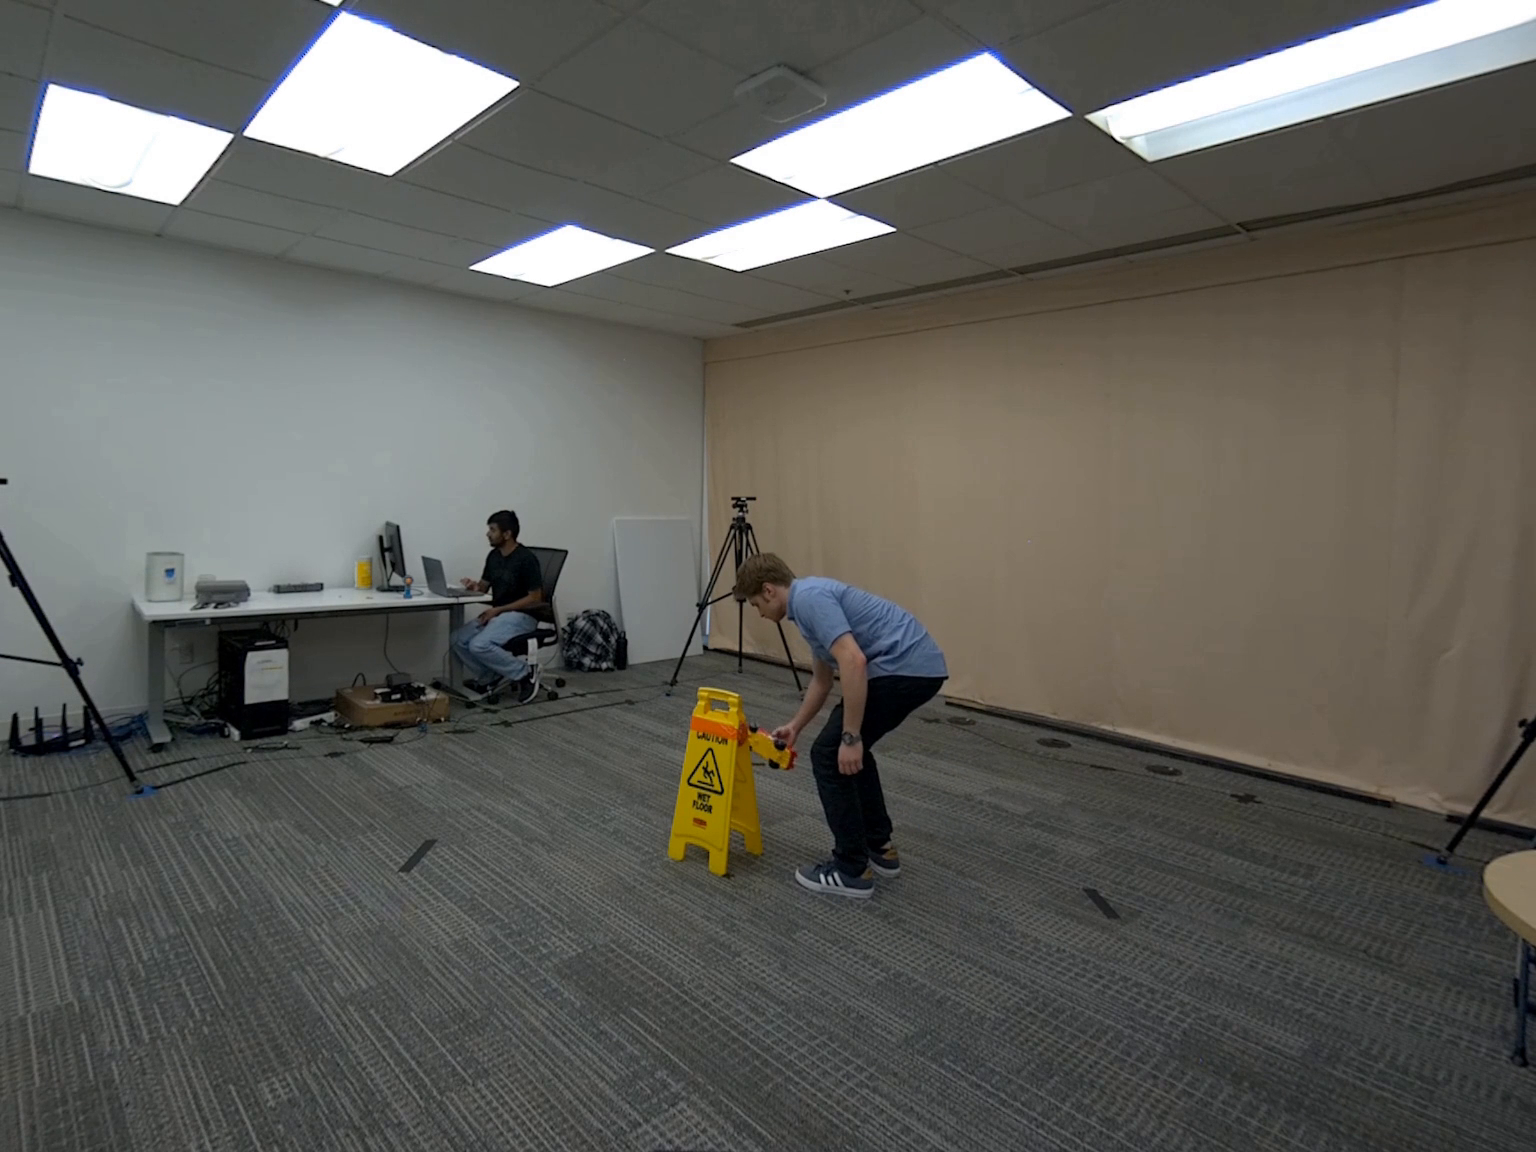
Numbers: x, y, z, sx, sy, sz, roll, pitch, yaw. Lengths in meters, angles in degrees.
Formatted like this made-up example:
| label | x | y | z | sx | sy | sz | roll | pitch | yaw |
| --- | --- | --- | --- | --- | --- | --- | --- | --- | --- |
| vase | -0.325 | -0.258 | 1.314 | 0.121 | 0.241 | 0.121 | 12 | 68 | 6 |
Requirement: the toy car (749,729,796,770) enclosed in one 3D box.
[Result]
| label | x | y | z | sx | sy | sz | roll | pitch | yaw |
| --- | --- | --- | --- | --- | --- | --- | --- | --- | --- |
| toy car | 0.002 | 0.708 | 3.468 | 0.260 | 0.129 | 0.082 | 23 | 13 | 24 |
